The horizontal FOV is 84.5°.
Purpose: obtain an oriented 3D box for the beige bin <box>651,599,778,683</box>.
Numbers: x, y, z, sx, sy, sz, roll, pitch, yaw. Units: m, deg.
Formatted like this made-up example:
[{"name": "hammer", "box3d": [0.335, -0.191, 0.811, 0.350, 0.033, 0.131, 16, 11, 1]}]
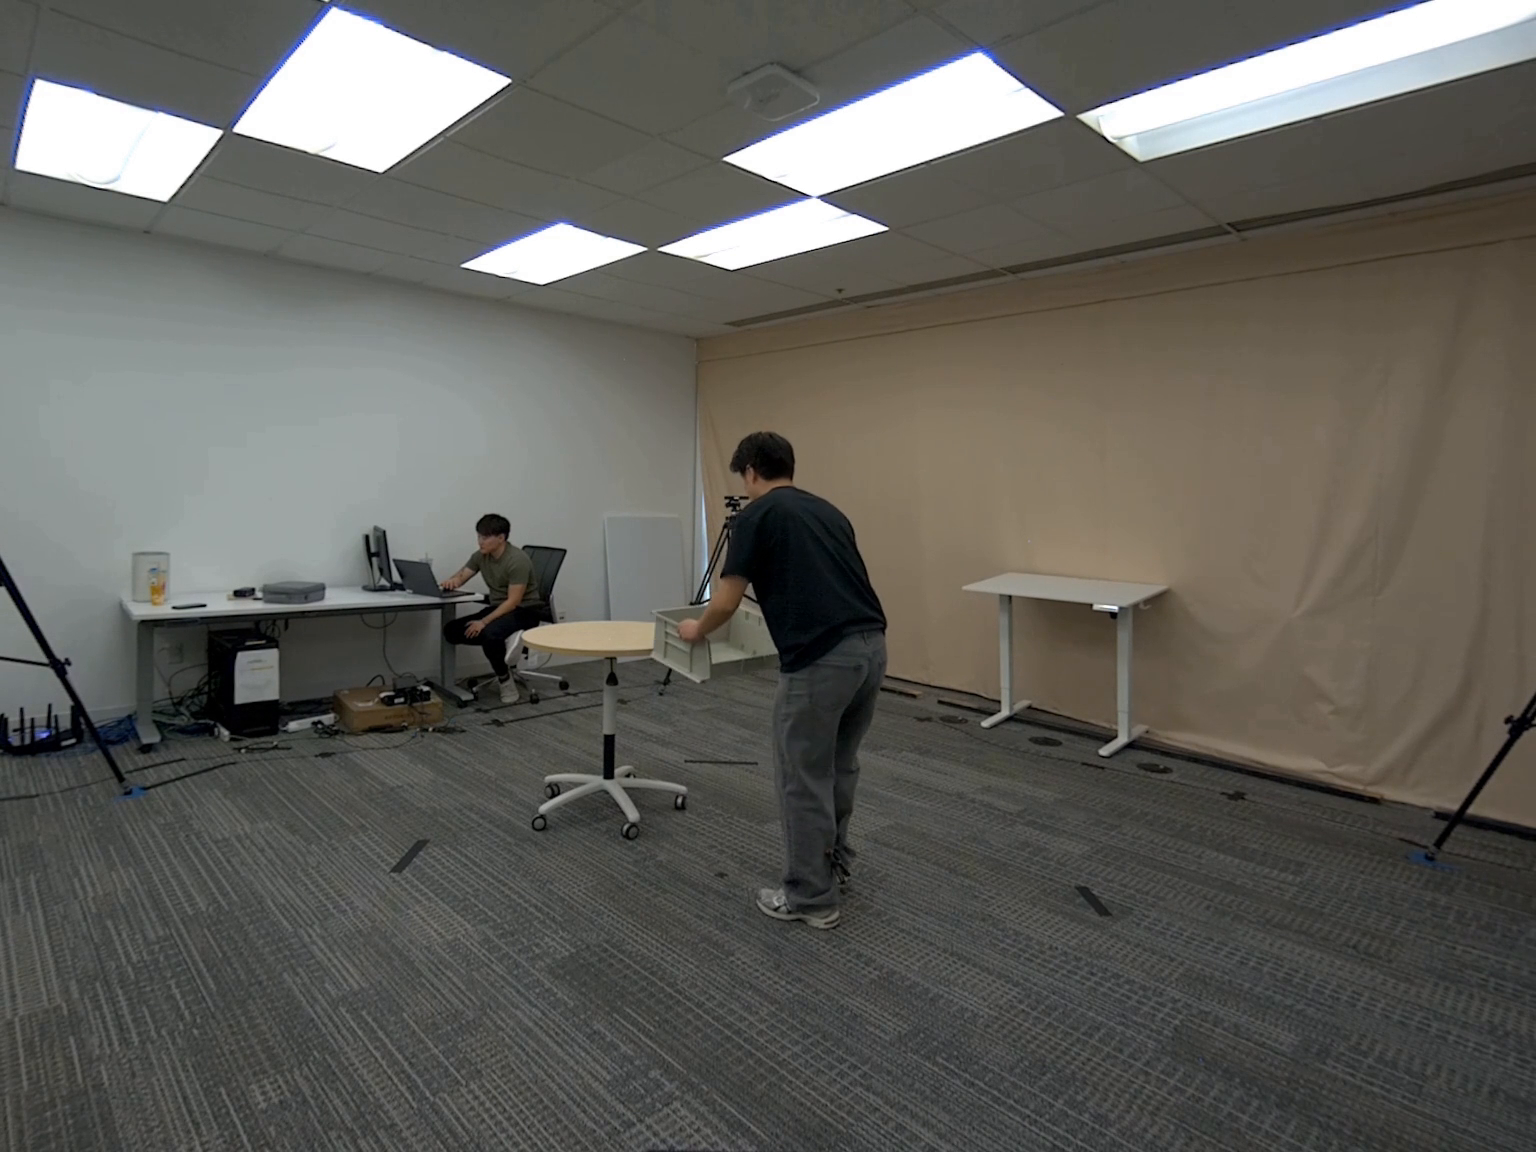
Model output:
[{"name": "beige bin", "box3d": [-0.180, 0.263, 3.215, 0.413, 0.187, 0.388, -6, 15, -40]}]
